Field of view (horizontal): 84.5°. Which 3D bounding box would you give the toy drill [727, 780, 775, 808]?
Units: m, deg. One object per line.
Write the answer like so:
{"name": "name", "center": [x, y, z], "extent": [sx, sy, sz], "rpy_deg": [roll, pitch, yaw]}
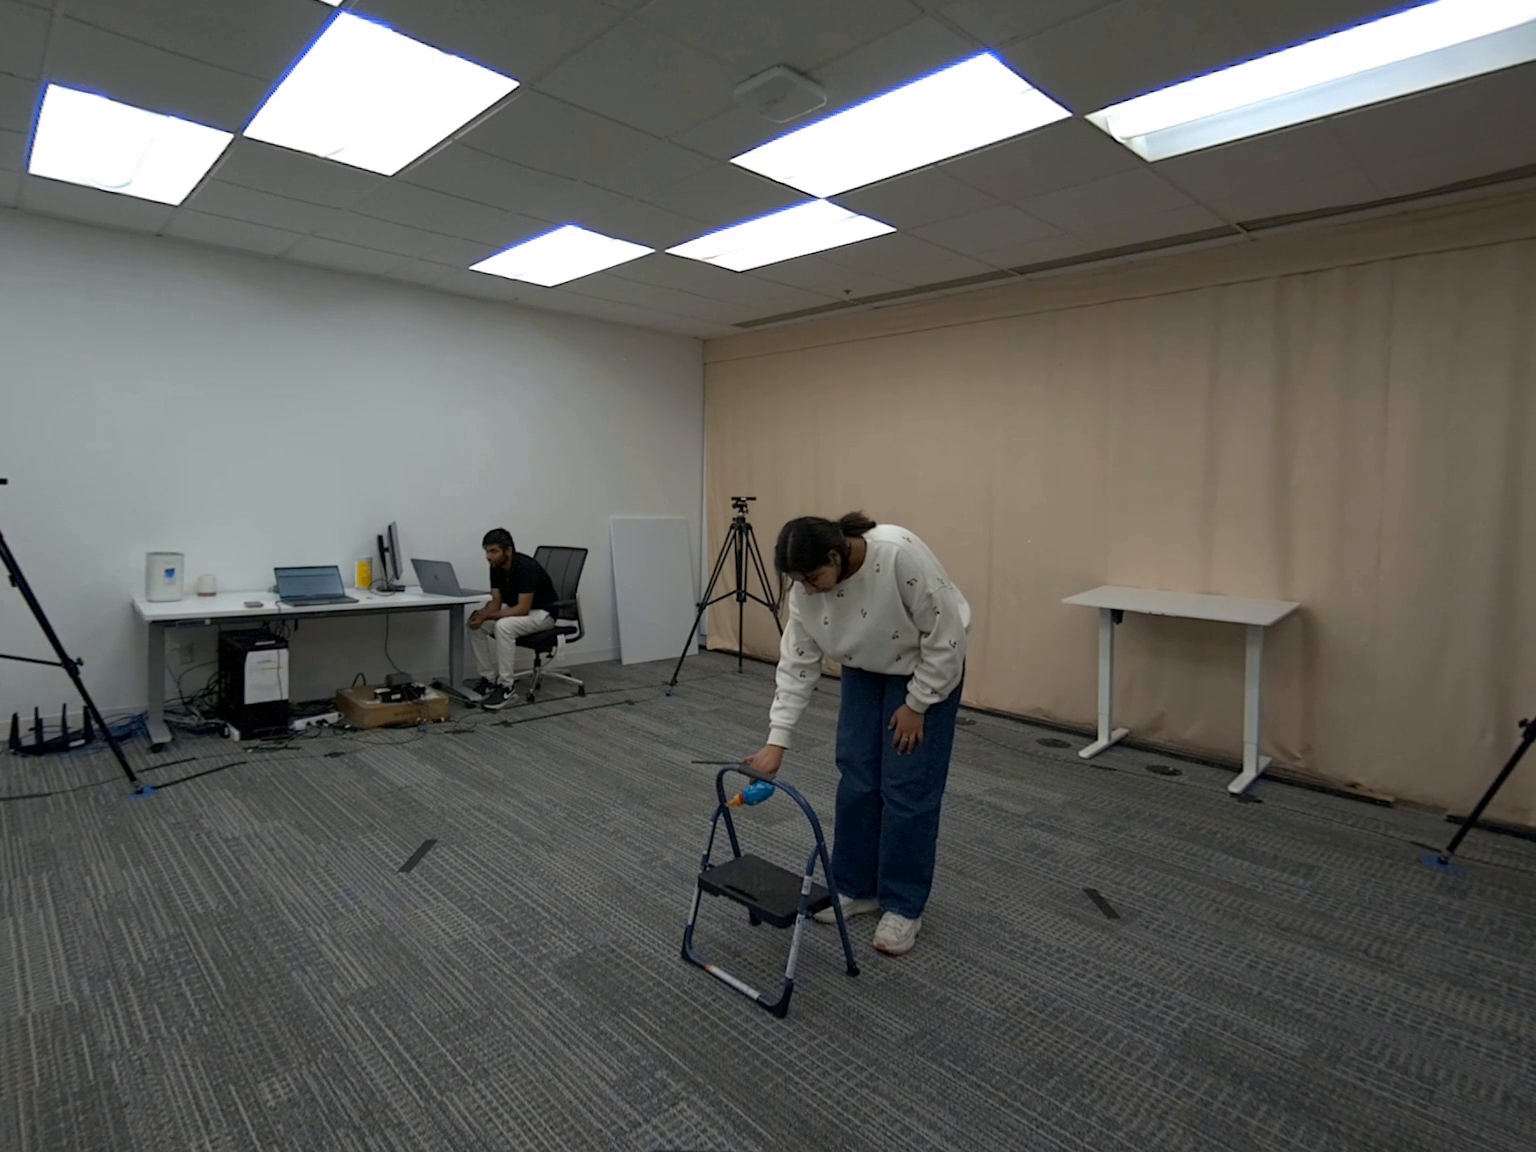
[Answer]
{"name": "toy drill", "center": [-0.061, 0.653, 2.619], "extent": [0.171, 0.059, 0.149], "rpy_deg": [-24, 31, 17]}
